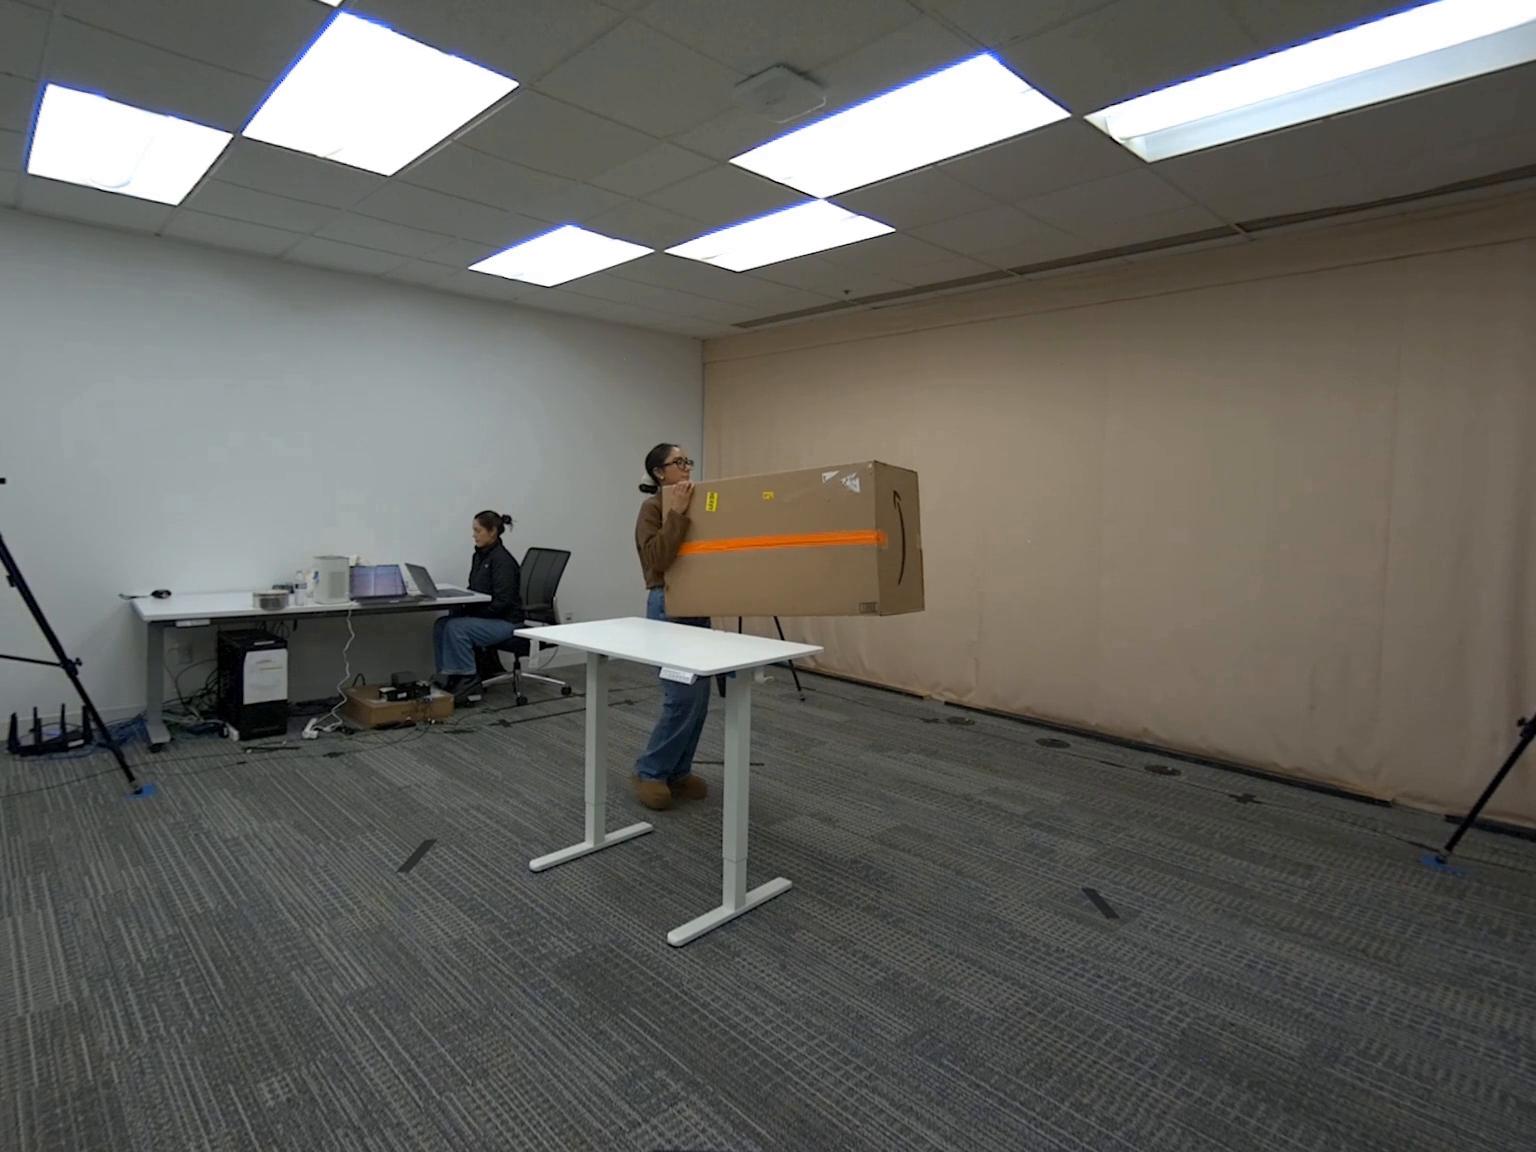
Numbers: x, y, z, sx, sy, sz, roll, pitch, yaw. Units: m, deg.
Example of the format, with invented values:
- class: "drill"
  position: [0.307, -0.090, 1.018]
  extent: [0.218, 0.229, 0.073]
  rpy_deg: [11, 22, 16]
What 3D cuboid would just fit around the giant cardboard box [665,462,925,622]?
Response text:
- class: "giant cardboard box"
  position: [0.086, -0.119, 3.551]
  extent: [1.048, 0.579, 0.416]
  rpy_deg: [-3, -3, 35]
